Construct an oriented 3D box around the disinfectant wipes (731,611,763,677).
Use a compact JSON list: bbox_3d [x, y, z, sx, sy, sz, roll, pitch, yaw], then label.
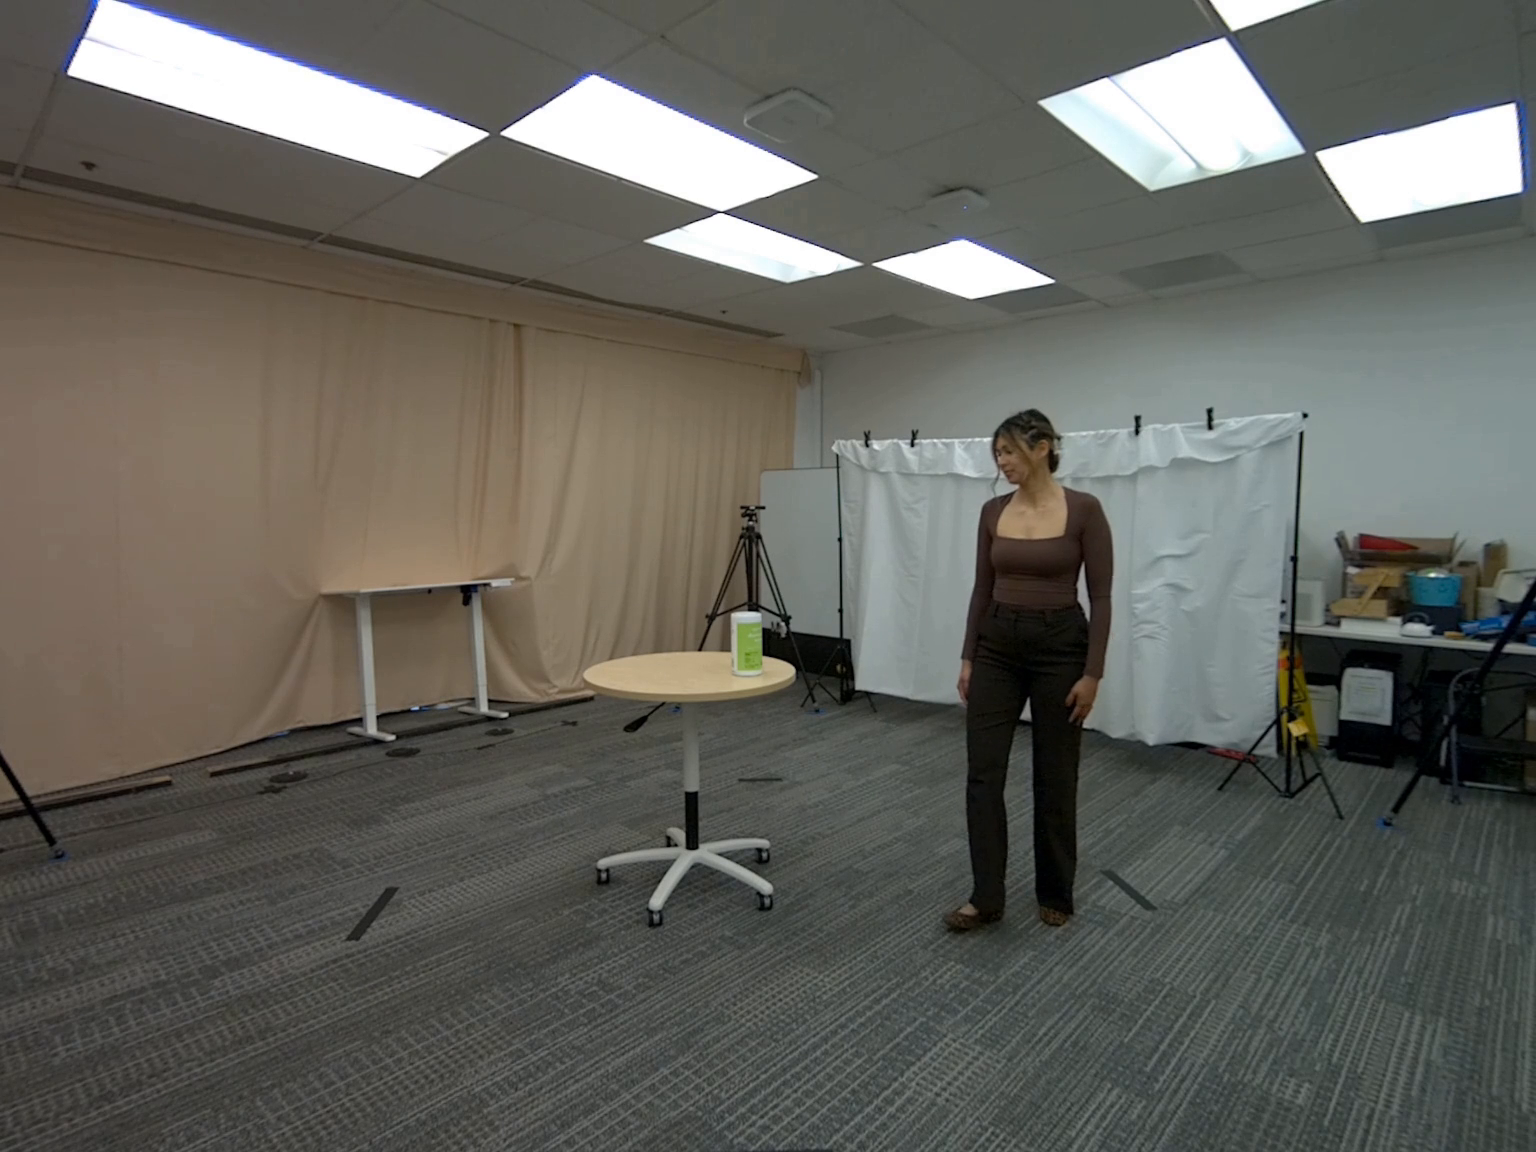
[{"bbox_3d":[-0.073,0.242,2.981,0.118,0.217,0.118,-1,4,-2],"label":"disinfectant wipes"}]
